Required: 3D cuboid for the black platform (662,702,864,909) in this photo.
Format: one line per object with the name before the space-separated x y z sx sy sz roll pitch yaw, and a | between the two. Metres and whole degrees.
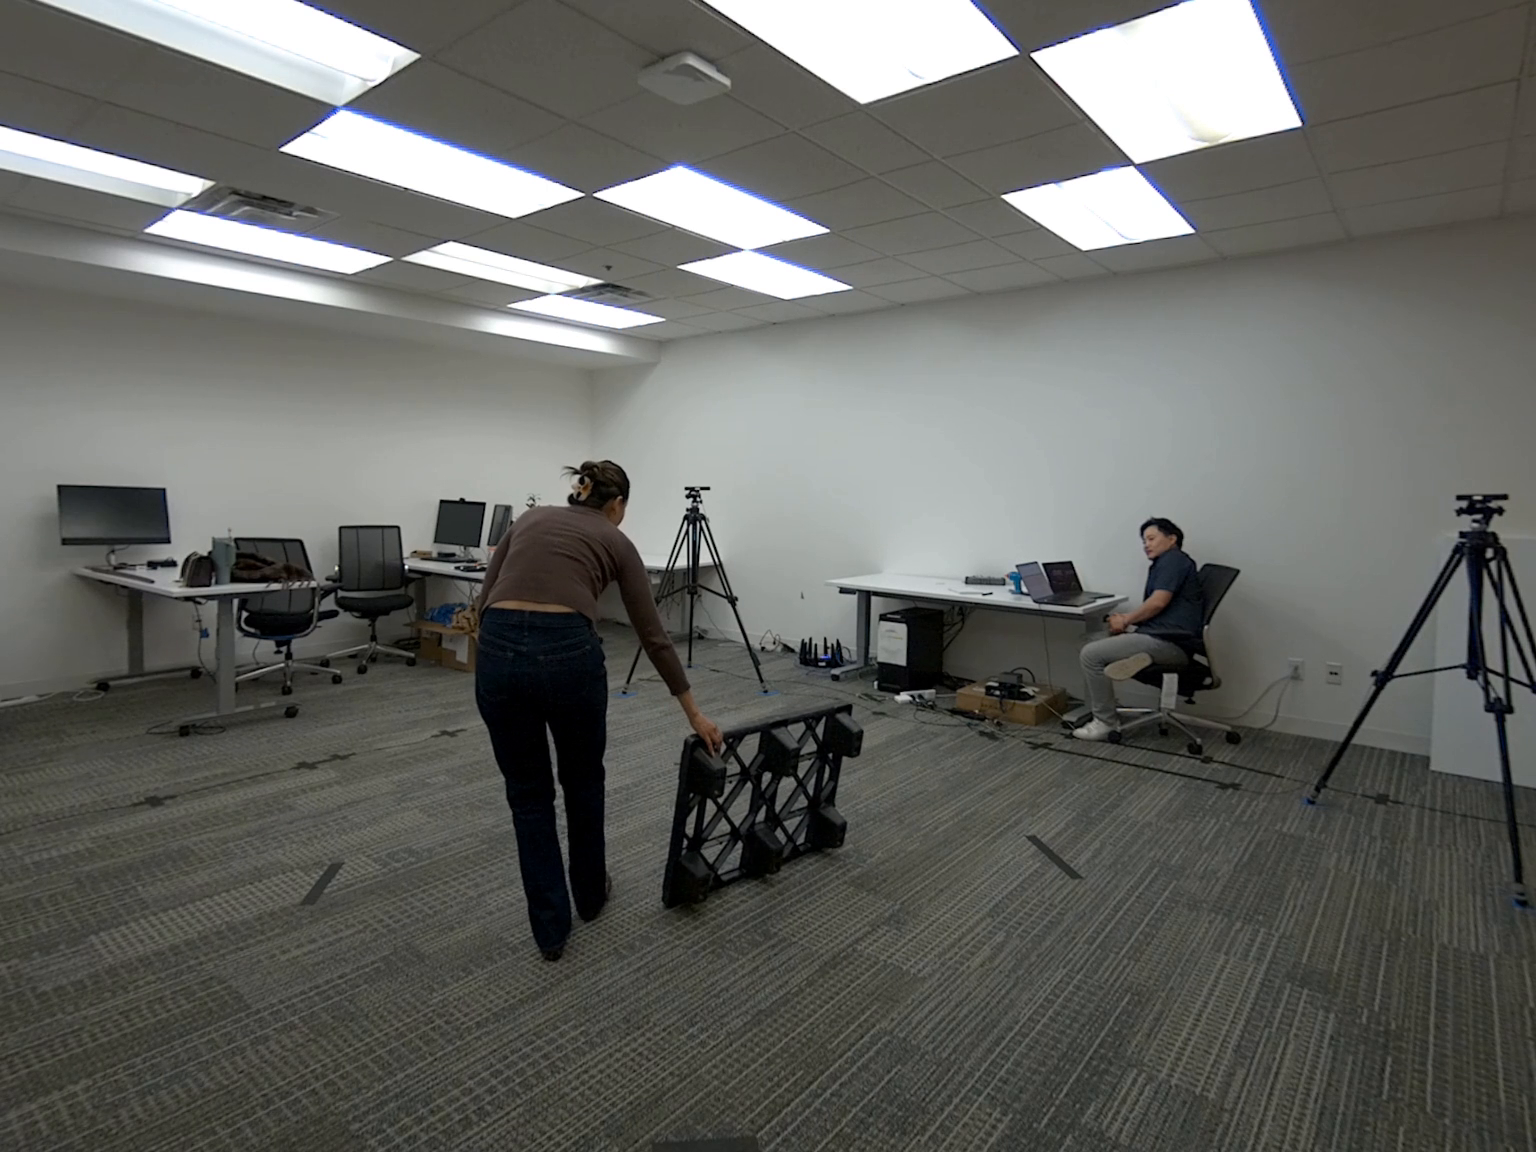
black platform | 0.005 0.797 2.985 0.781 0.600 0.149 -3 15 -42
